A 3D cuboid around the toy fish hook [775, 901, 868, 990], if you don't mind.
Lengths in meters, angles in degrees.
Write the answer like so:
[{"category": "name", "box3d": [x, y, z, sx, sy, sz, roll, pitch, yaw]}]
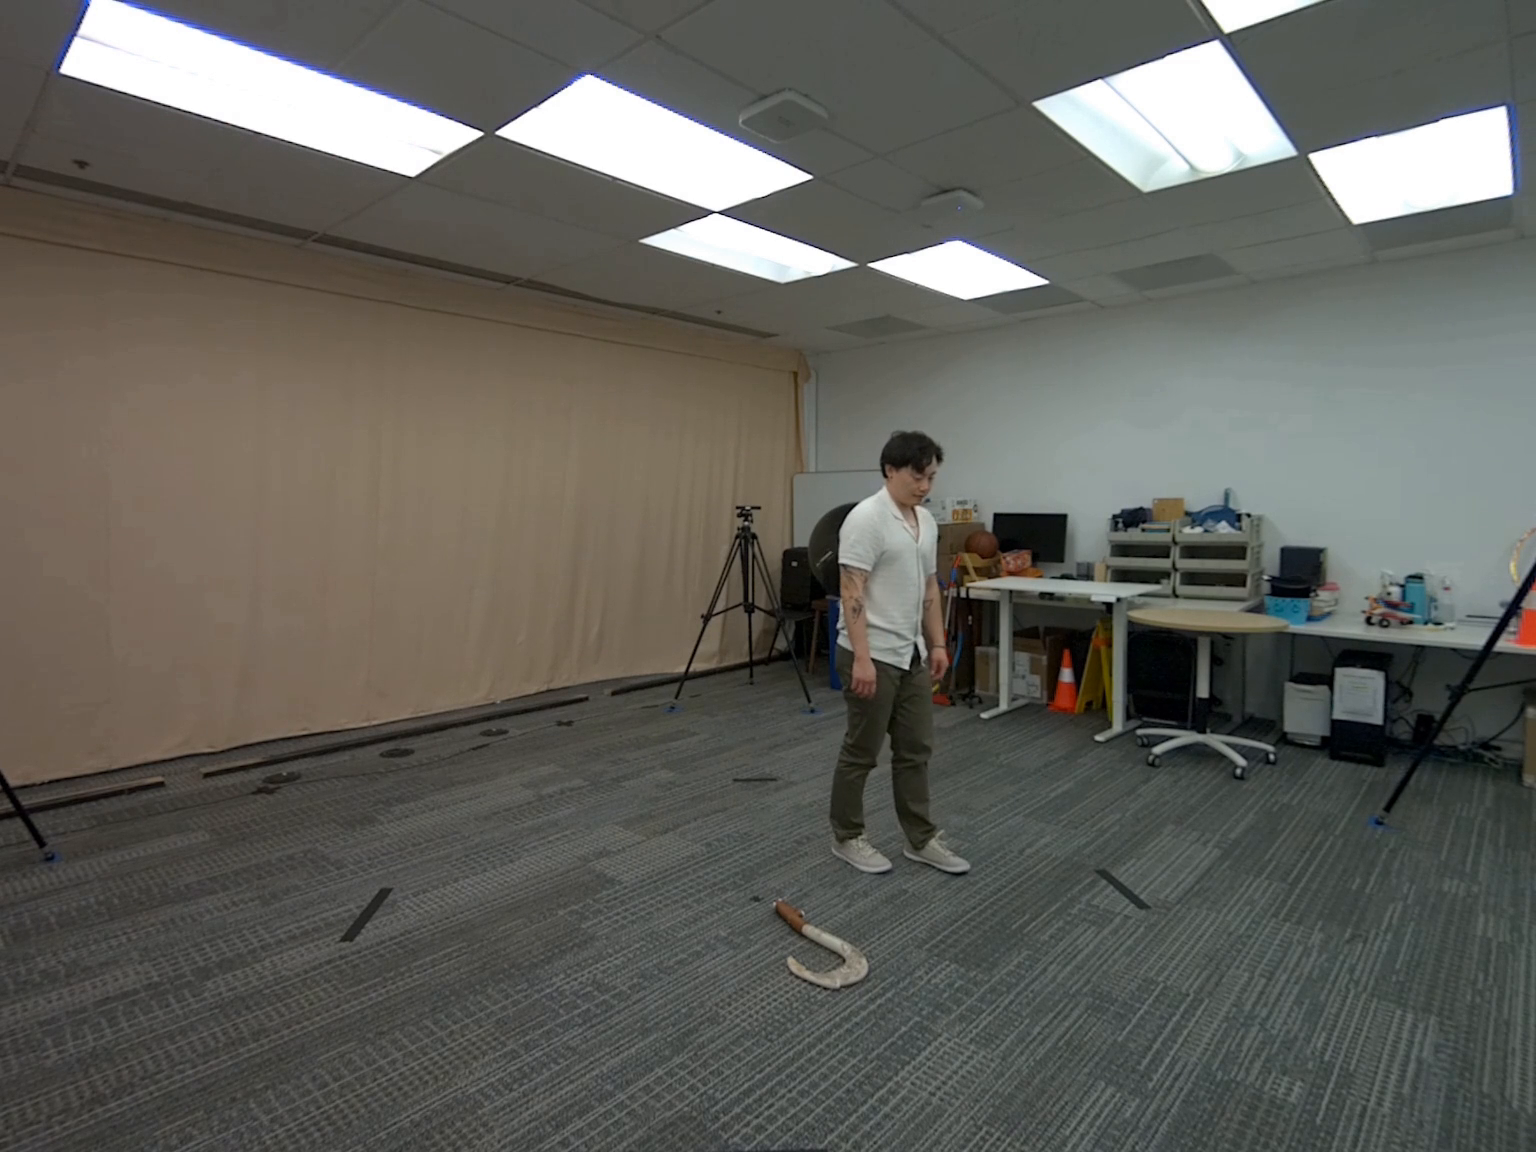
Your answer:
[{"category": "toy fish hook", "box3d": [0.116, 1.150, 2.651, 0.219, 0.048, 0.521, -2, 4, -29]}]
